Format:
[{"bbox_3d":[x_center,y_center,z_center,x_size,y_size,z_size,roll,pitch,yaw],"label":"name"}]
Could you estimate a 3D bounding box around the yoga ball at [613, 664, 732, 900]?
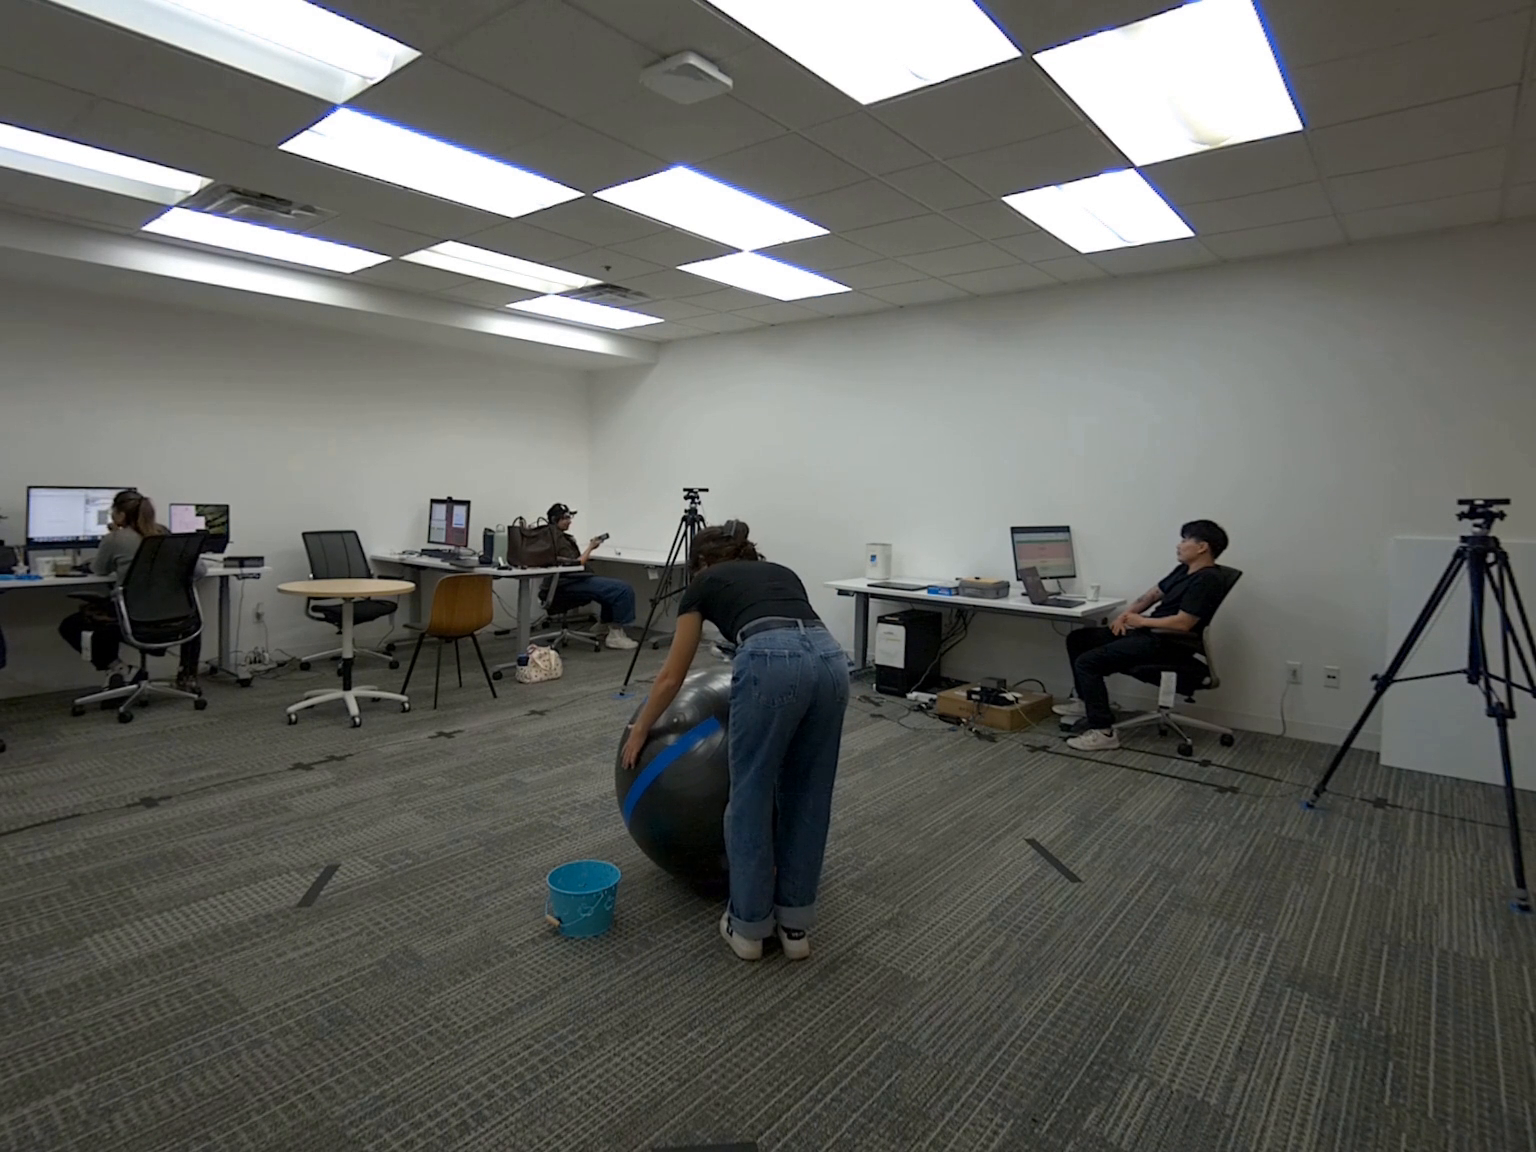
[{"bbox_3d":[-0.173,0.710,3.042,0.757,0.755,0.762,1,4,-2],"label":"yoga ball"}]
